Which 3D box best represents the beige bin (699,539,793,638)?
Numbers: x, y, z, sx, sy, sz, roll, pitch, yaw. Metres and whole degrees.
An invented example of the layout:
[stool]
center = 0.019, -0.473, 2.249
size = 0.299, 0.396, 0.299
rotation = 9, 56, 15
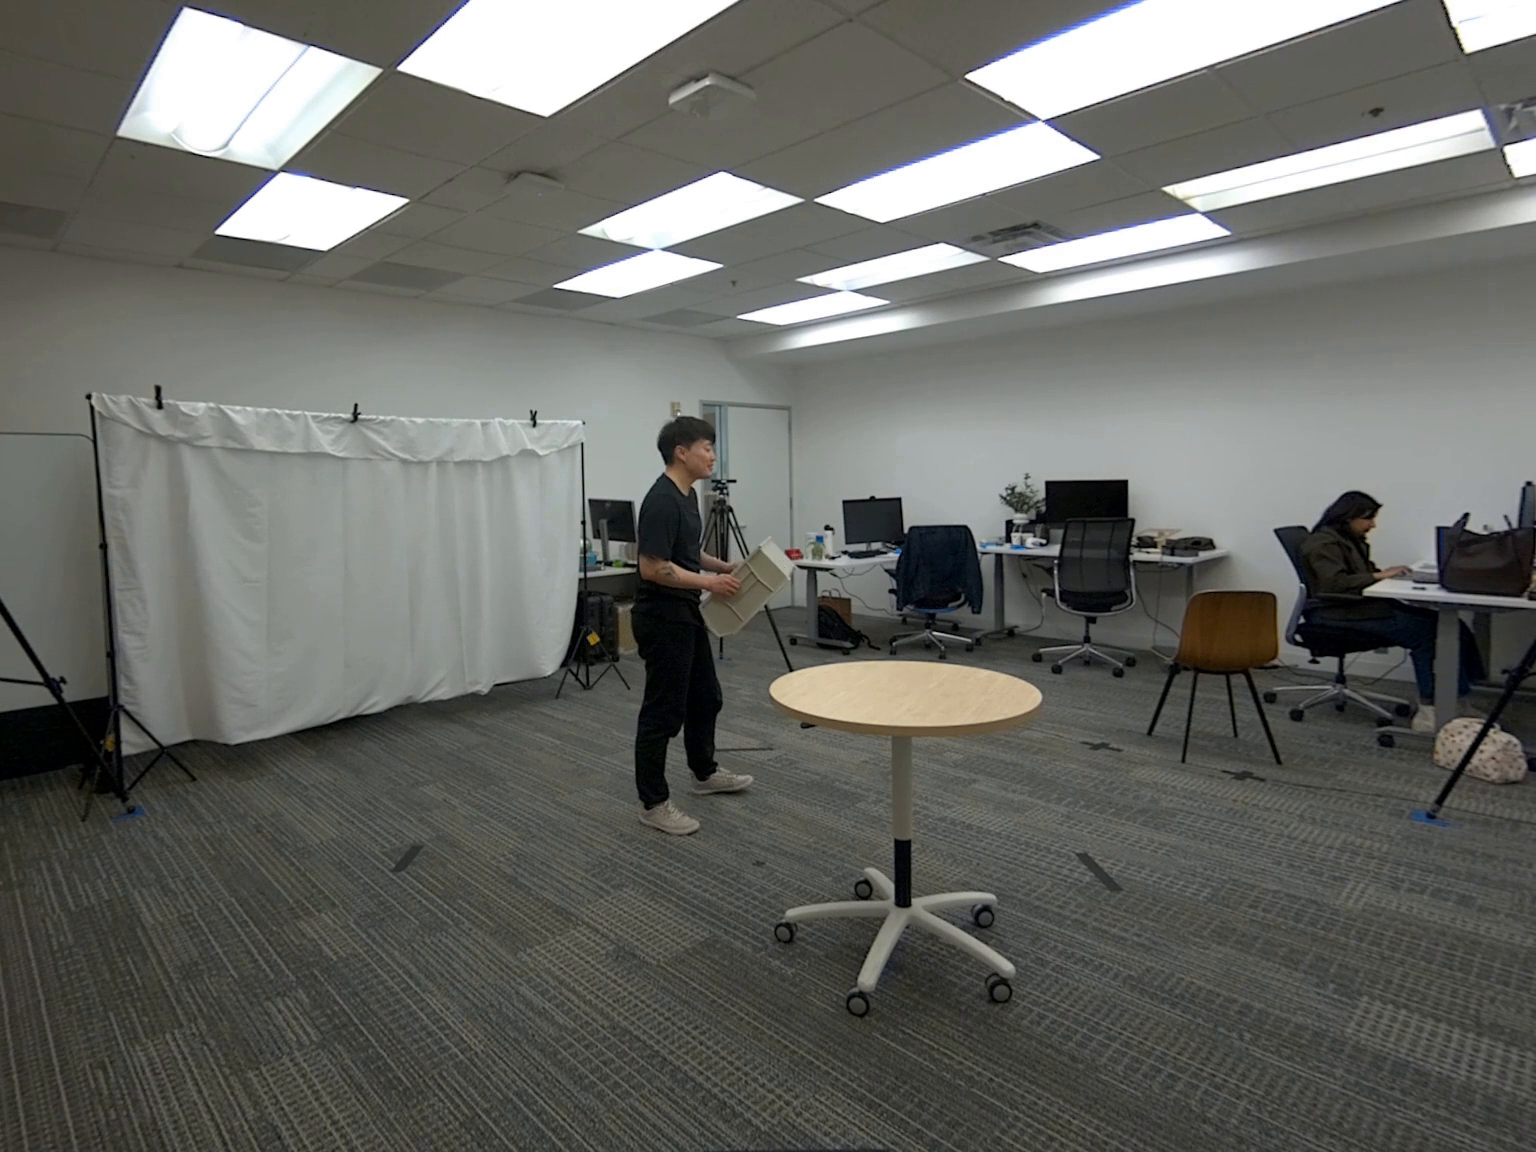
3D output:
[beige bin]
center = -0.082, 0.049, 3.498
size = 0.377, 0.190, 0.421
rotation = -44, -1, 9
